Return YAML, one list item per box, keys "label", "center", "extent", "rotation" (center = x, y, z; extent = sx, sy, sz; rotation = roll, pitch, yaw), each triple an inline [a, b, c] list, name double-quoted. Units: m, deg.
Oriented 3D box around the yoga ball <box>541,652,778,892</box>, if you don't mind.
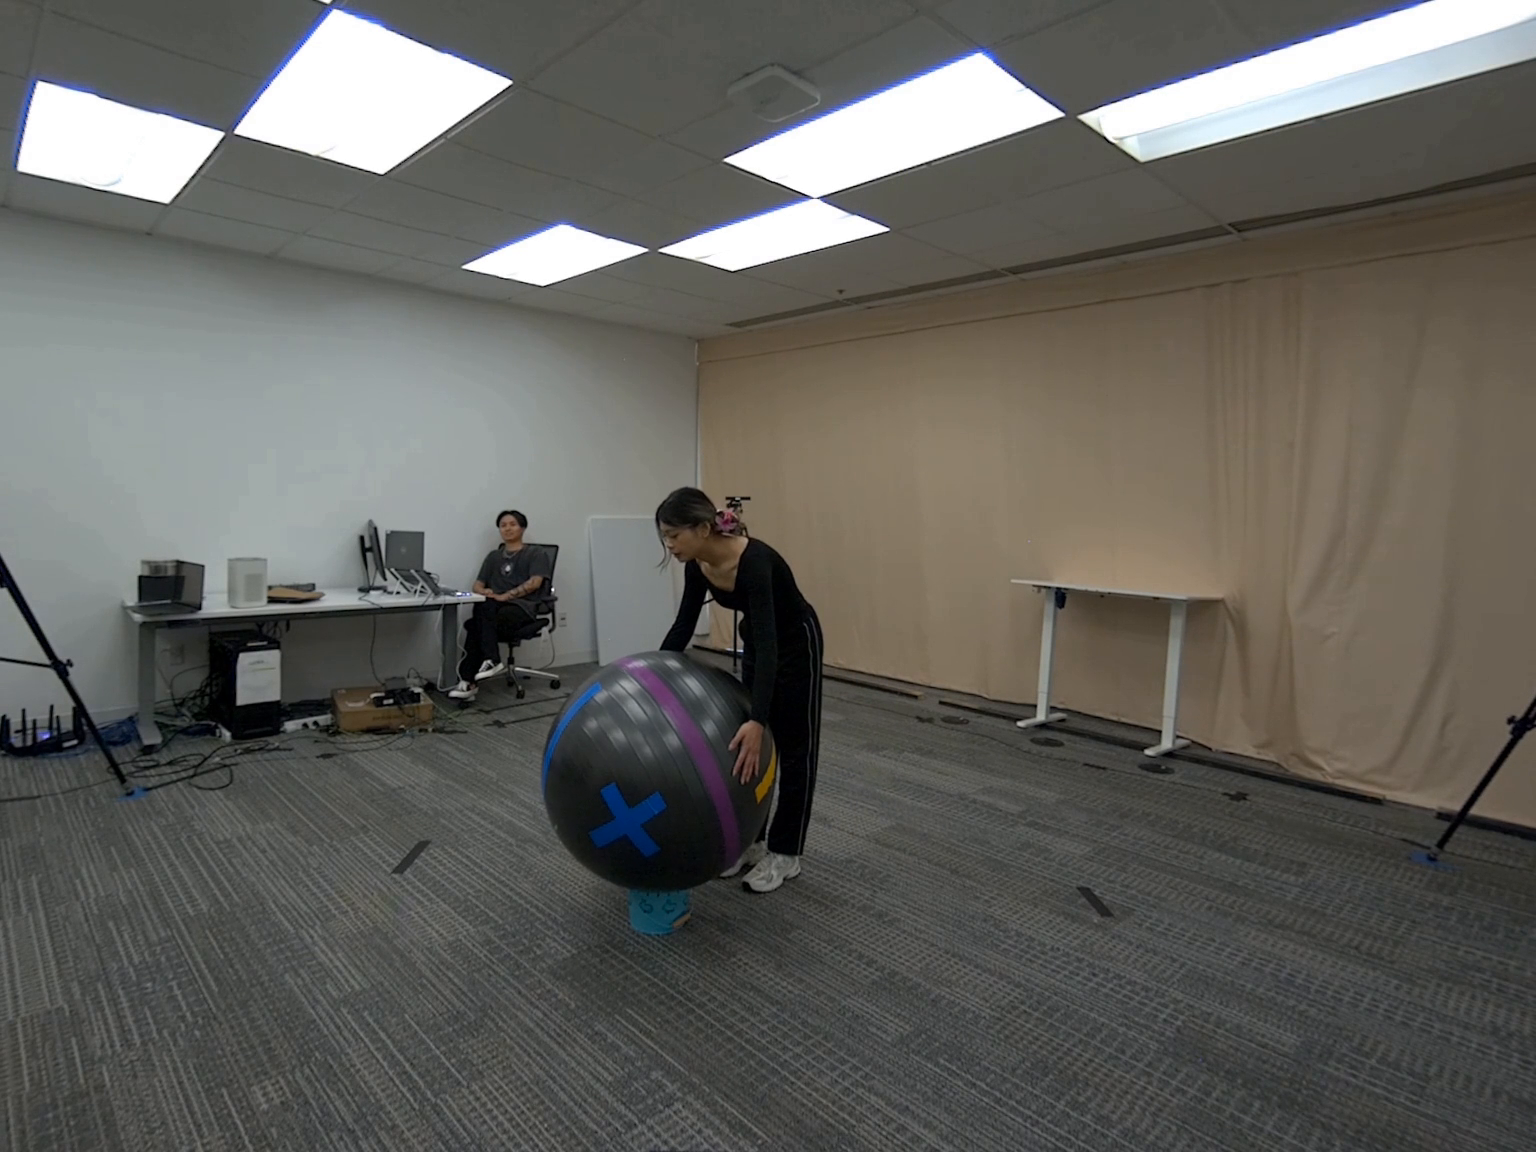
- label: "yoga ball"
  center: [-0.356, 0.626, 2.735]
  extent: [0.757, 0.756, 0.761]
  rotation: [1, 4, -1]
